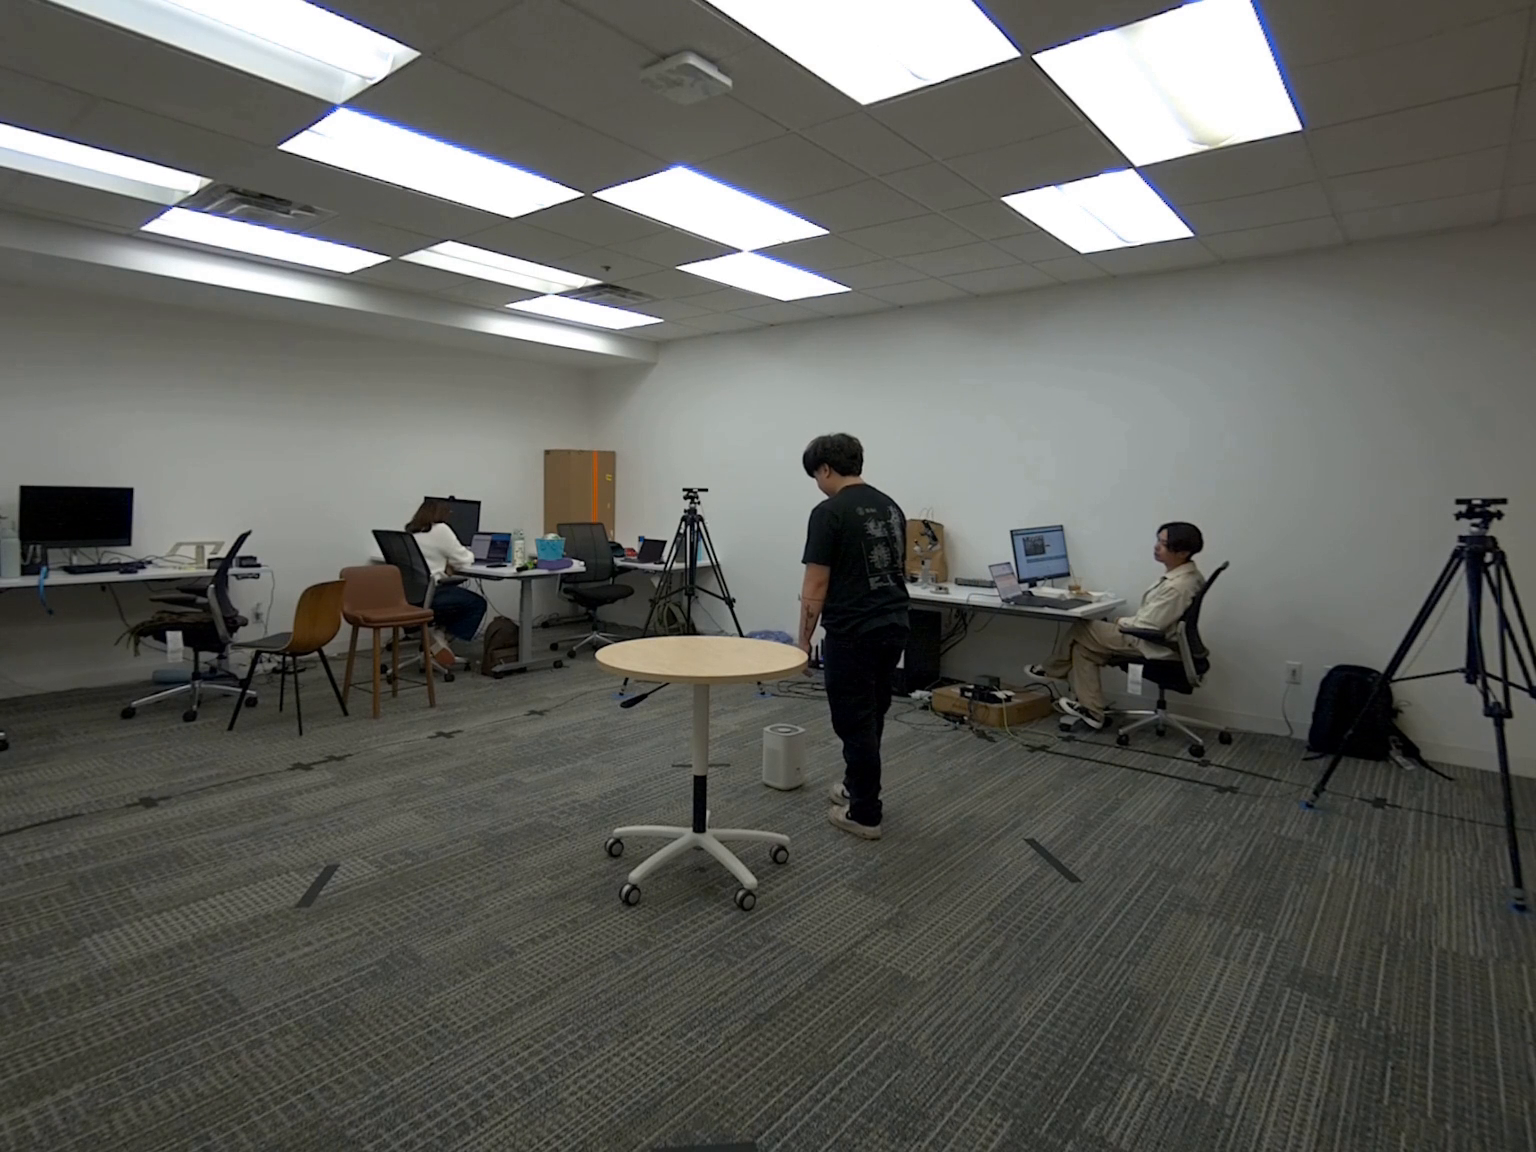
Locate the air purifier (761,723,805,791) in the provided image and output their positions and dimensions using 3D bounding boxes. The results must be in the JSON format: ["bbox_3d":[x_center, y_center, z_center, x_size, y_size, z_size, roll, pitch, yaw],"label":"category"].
[{"bbox_3d":[0.067,0.851,4.026,0.177,0.264,0.166,4,4,40],"label":"air purifier"}]
